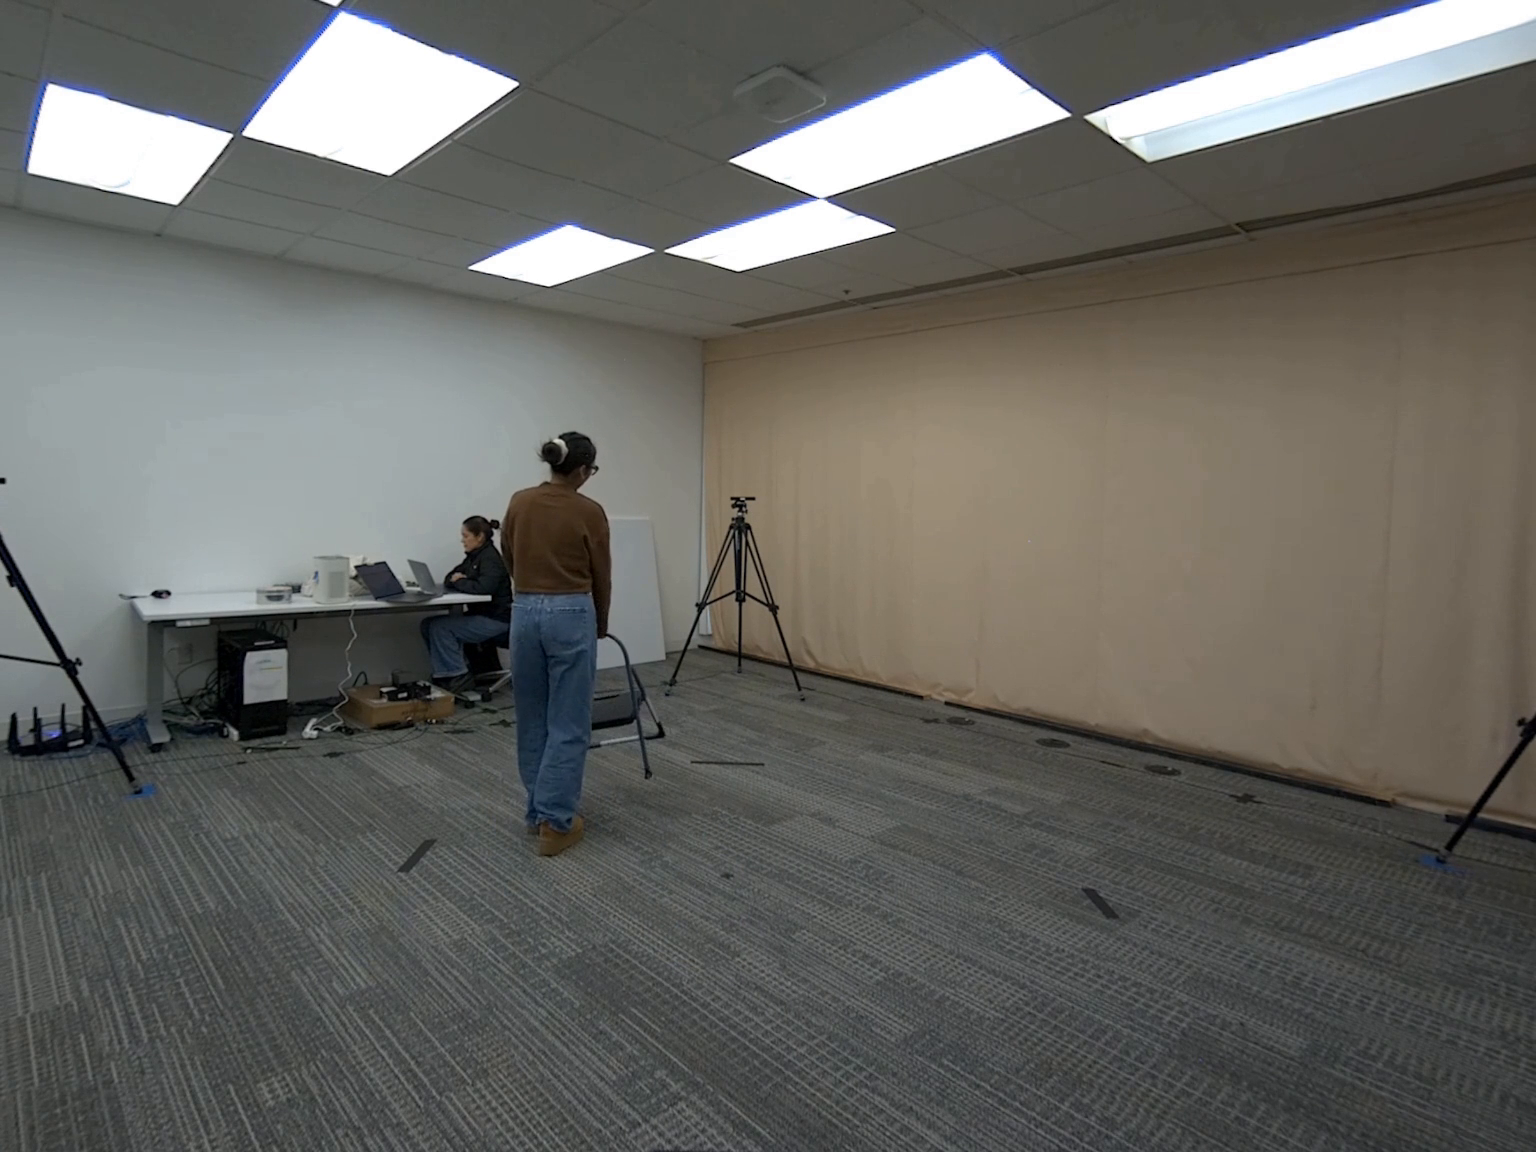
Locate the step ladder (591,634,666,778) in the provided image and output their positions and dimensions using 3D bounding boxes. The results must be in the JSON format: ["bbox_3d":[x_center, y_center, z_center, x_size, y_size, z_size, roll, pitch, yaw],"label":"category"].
[{"bbox_3d":[-0.776,0.571,3.704,0.434,0.597,0.352,-11,18,11],"label":"step ladder"}]
